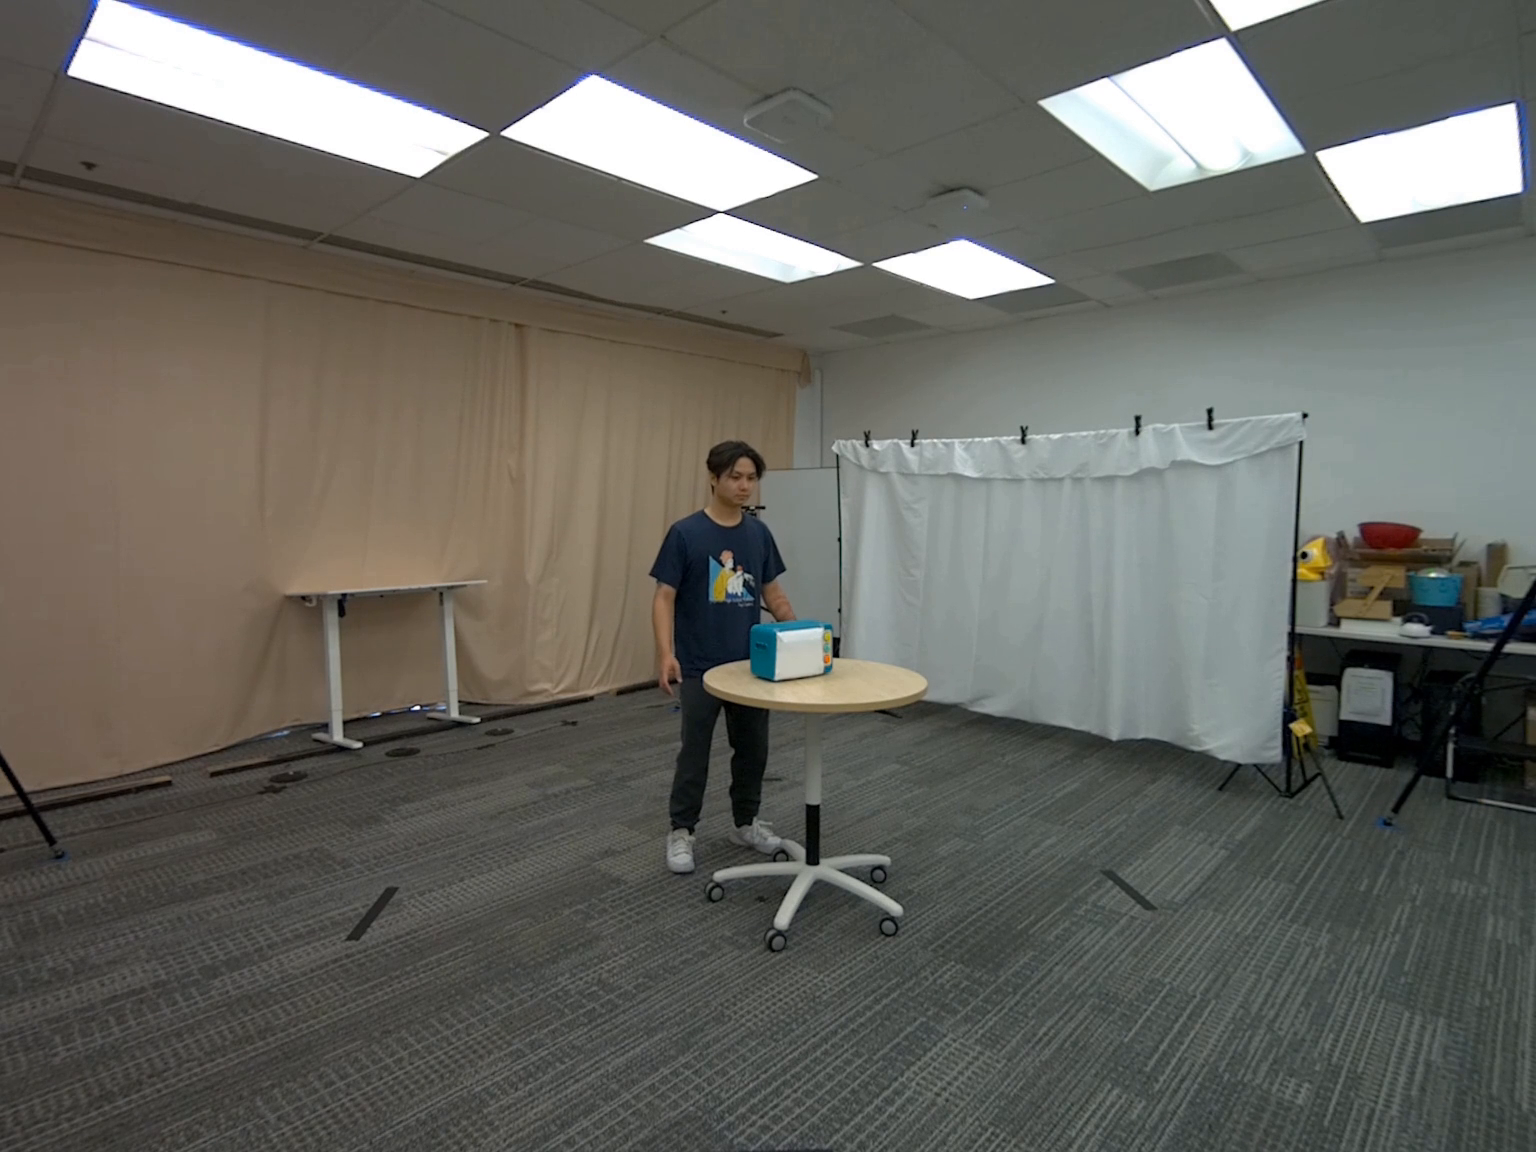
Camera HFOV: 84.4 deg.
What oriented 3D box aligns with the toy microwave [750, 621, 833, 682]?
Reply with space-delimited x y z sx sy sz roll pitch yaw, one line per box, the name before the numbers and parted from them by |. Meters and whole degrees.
toy microwave | 0.091 0.258 2.923 0.278 0.183 0.157 -2 5 -33
